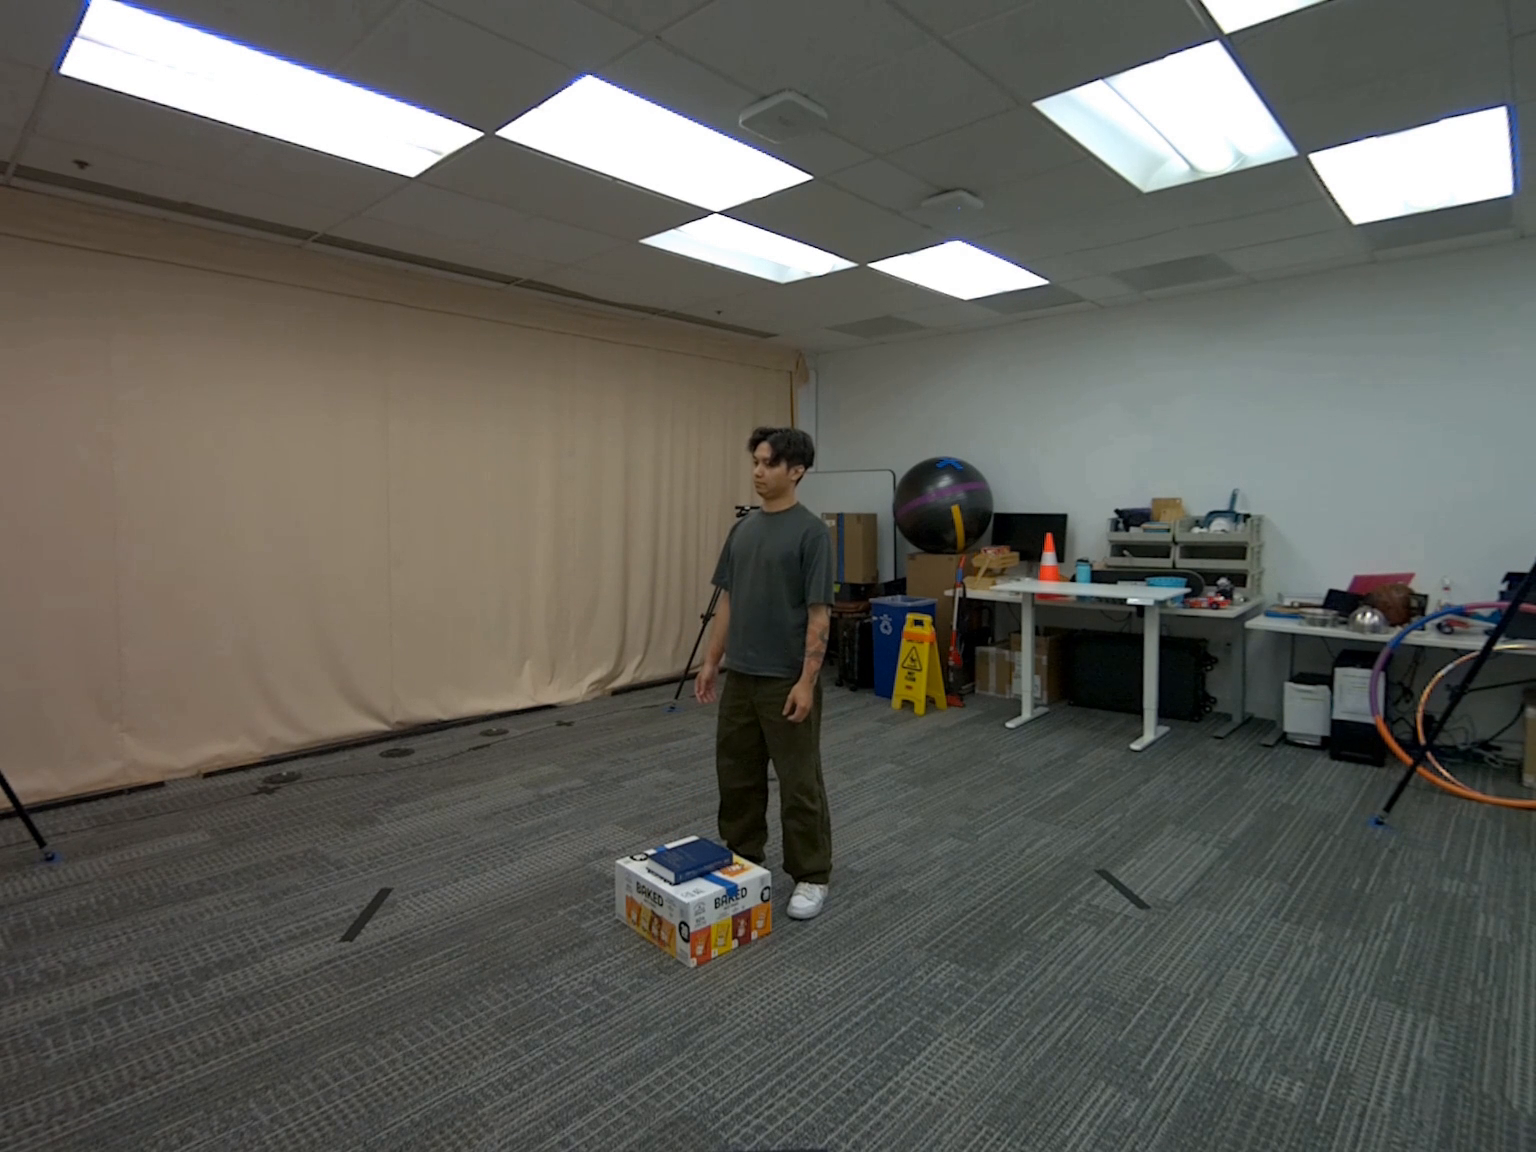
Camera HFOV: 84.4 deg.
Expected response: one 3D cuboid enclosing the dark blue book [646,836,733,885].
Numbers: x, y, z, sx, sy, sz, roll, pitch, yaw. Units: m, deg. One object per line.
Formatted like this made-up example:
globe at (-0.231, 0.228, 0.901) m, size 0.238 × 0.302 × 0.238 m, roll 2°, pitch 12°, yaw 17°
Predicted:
dark blue book at (-0.260, 0.948, 2.793) m, size 0.238 × 0.045 × 0.169 m, roll -5°, pitch 7°, yaw -41°
